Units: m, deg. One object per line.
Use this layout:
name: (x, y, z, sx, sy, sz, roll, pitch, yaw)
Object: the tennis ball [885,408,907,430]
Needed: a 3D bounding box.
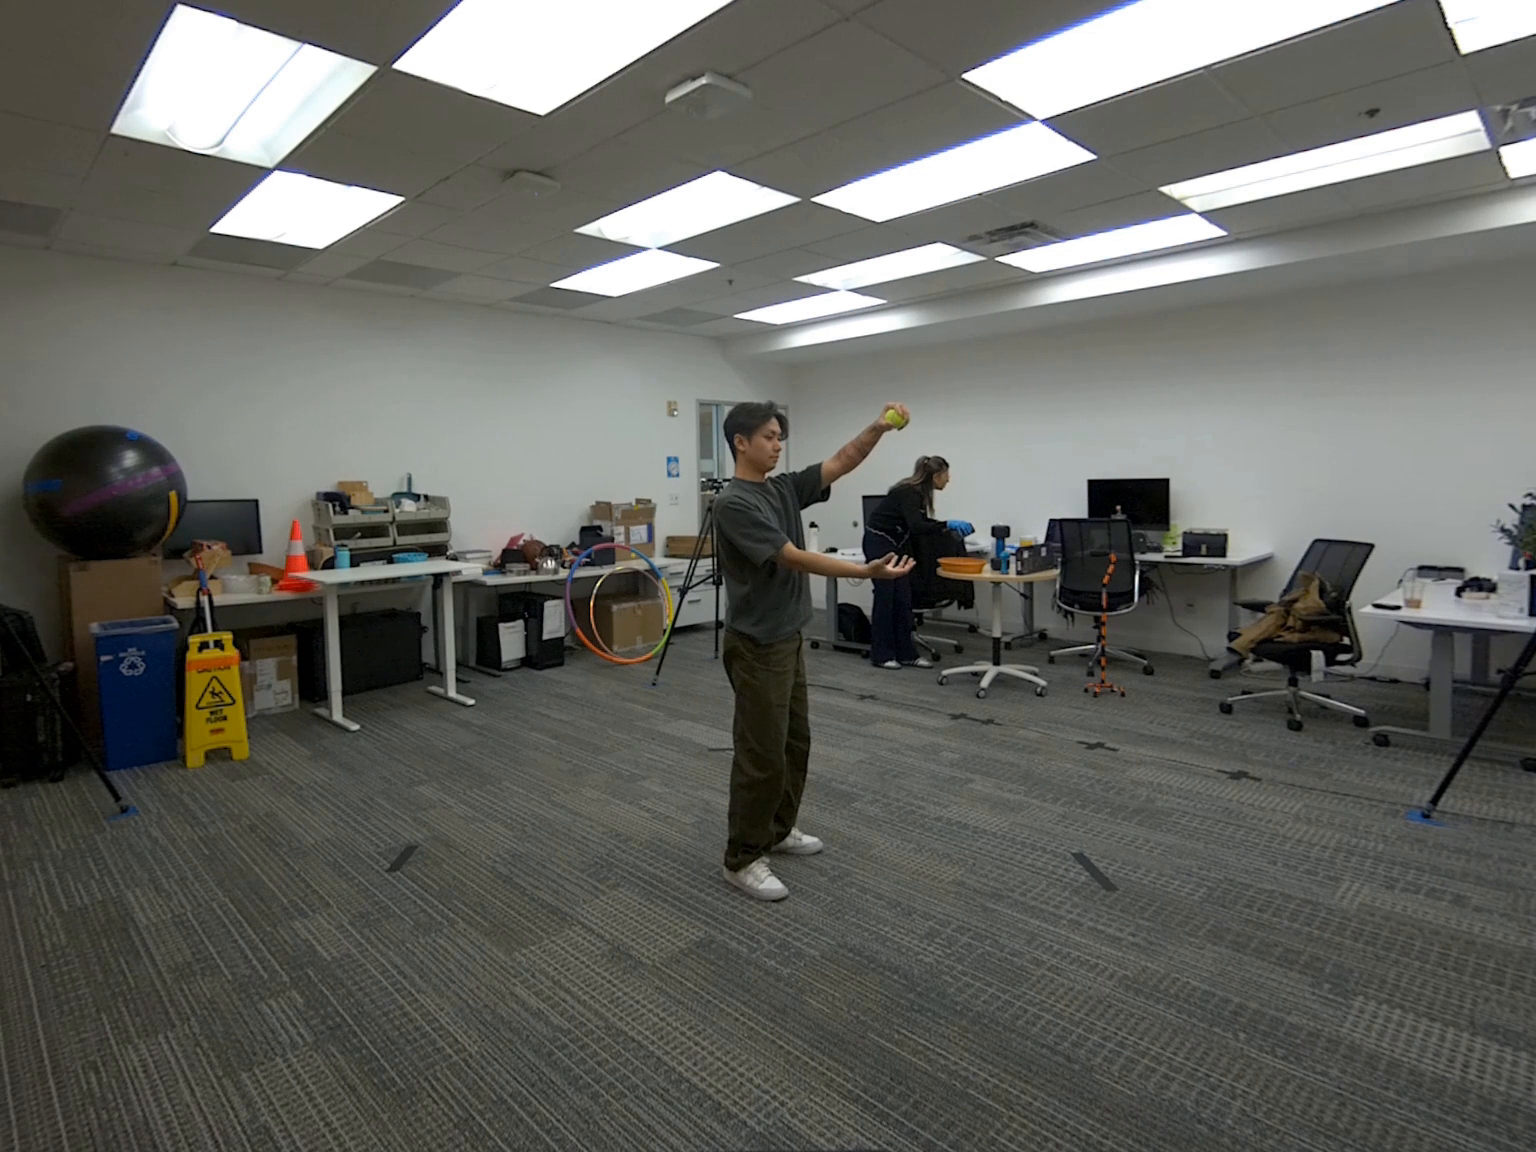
tennis ball: (0.446, -0.530, 2.813, 0.066, 0.066, 0.067, -1, 5, -2)
